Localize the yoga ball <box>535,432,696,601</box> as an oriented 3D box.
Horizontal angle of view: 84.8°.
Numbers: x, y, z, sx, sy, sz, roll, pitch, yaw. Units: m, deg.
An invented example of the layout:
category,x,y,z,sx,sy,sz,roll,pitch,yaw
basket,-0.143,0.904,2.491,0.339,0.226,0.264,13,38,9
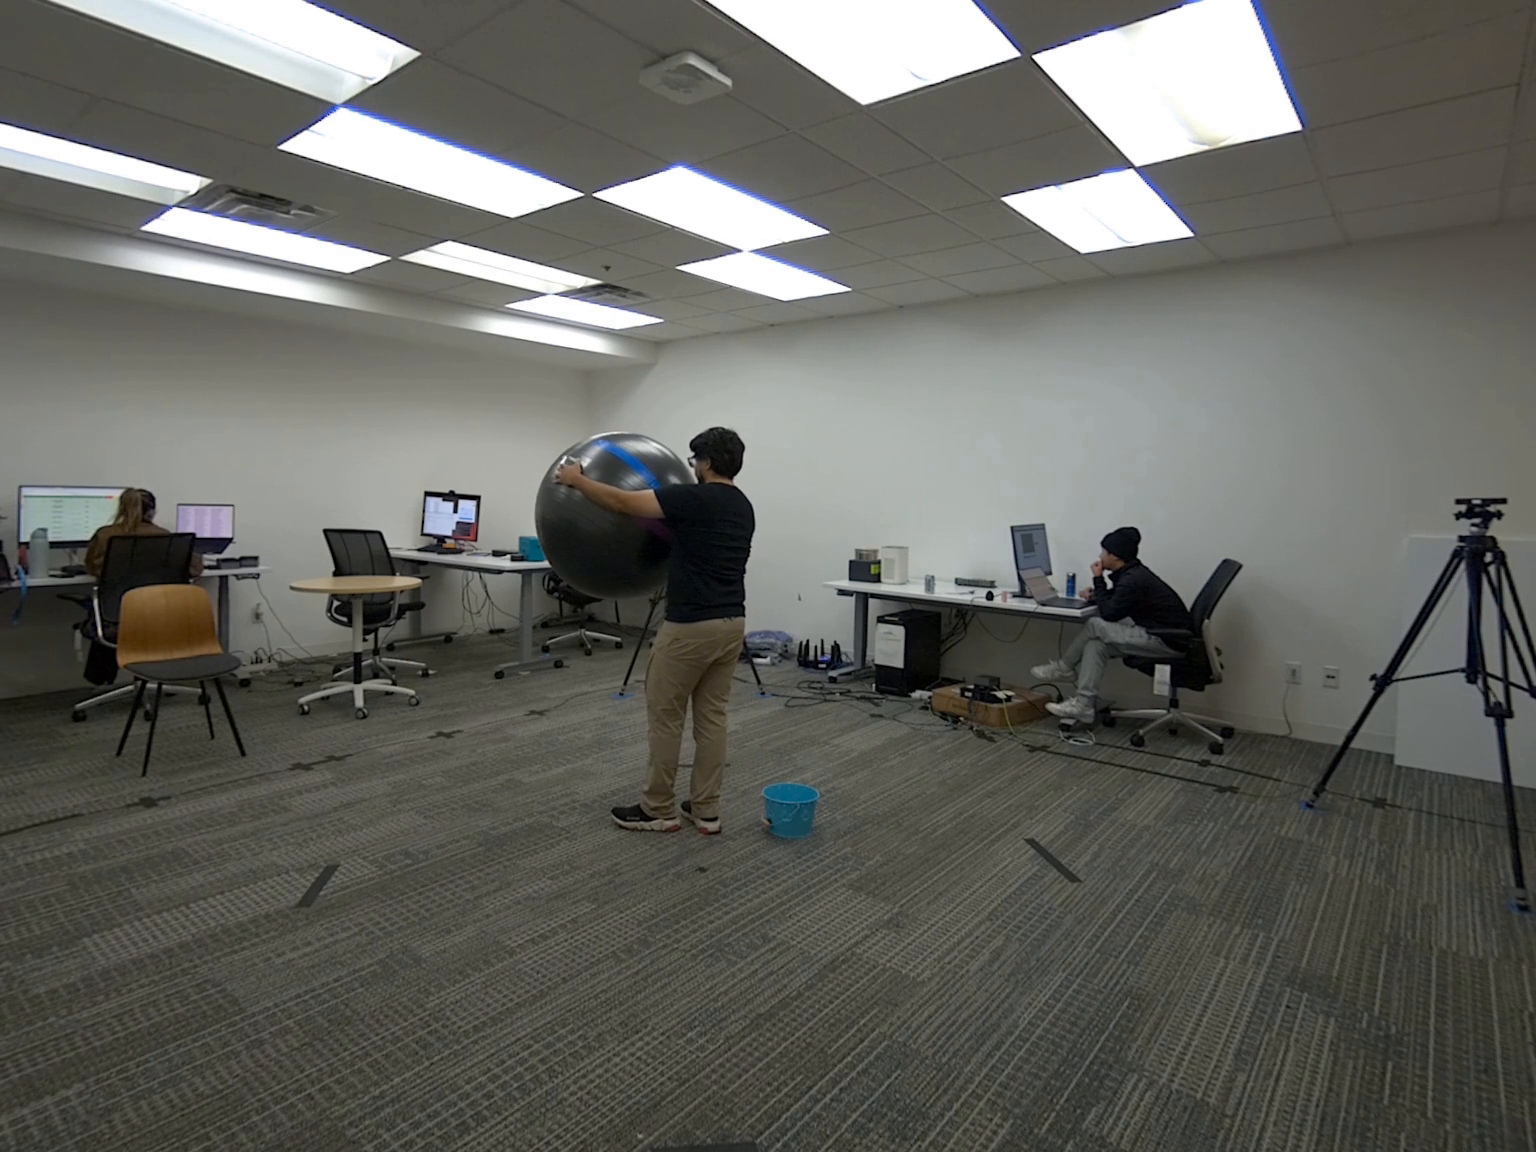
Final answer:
category,x,y,z,sx,sy,sz,roll,pitch,yaw
yoga ball,-0.694,-0.271,3.880,0.757,0.755,0.762,1,4,-2
